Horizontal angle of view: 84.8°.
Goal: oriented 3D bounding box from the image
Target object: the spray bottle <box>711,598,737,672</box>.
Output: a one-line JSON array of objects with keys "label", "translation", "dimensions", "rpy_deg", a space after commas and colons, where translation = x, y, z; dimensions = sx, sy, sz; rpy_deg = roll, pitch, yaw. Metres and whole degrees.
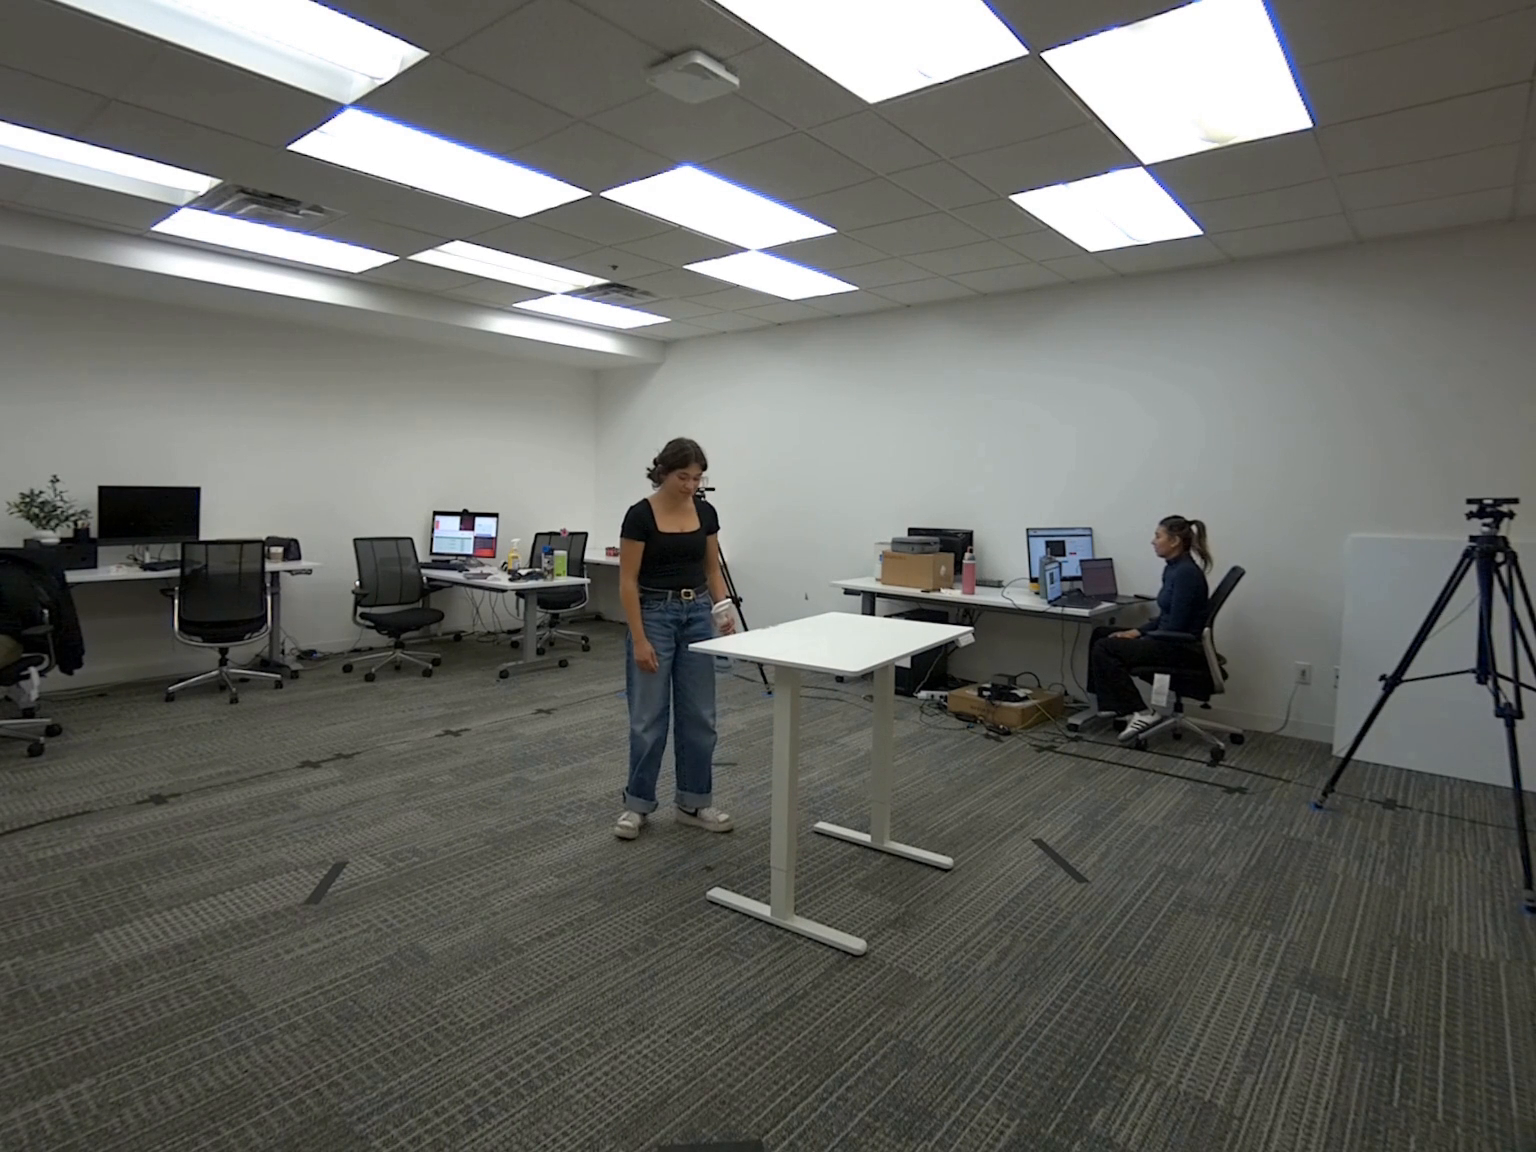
[{"label": "spray bottle", "translation": [-0.193, 0.234, 3.384], "dimensions": [0.089, 0.292, 0.089], "rpy_deg": [-4, 20, -5]}]
